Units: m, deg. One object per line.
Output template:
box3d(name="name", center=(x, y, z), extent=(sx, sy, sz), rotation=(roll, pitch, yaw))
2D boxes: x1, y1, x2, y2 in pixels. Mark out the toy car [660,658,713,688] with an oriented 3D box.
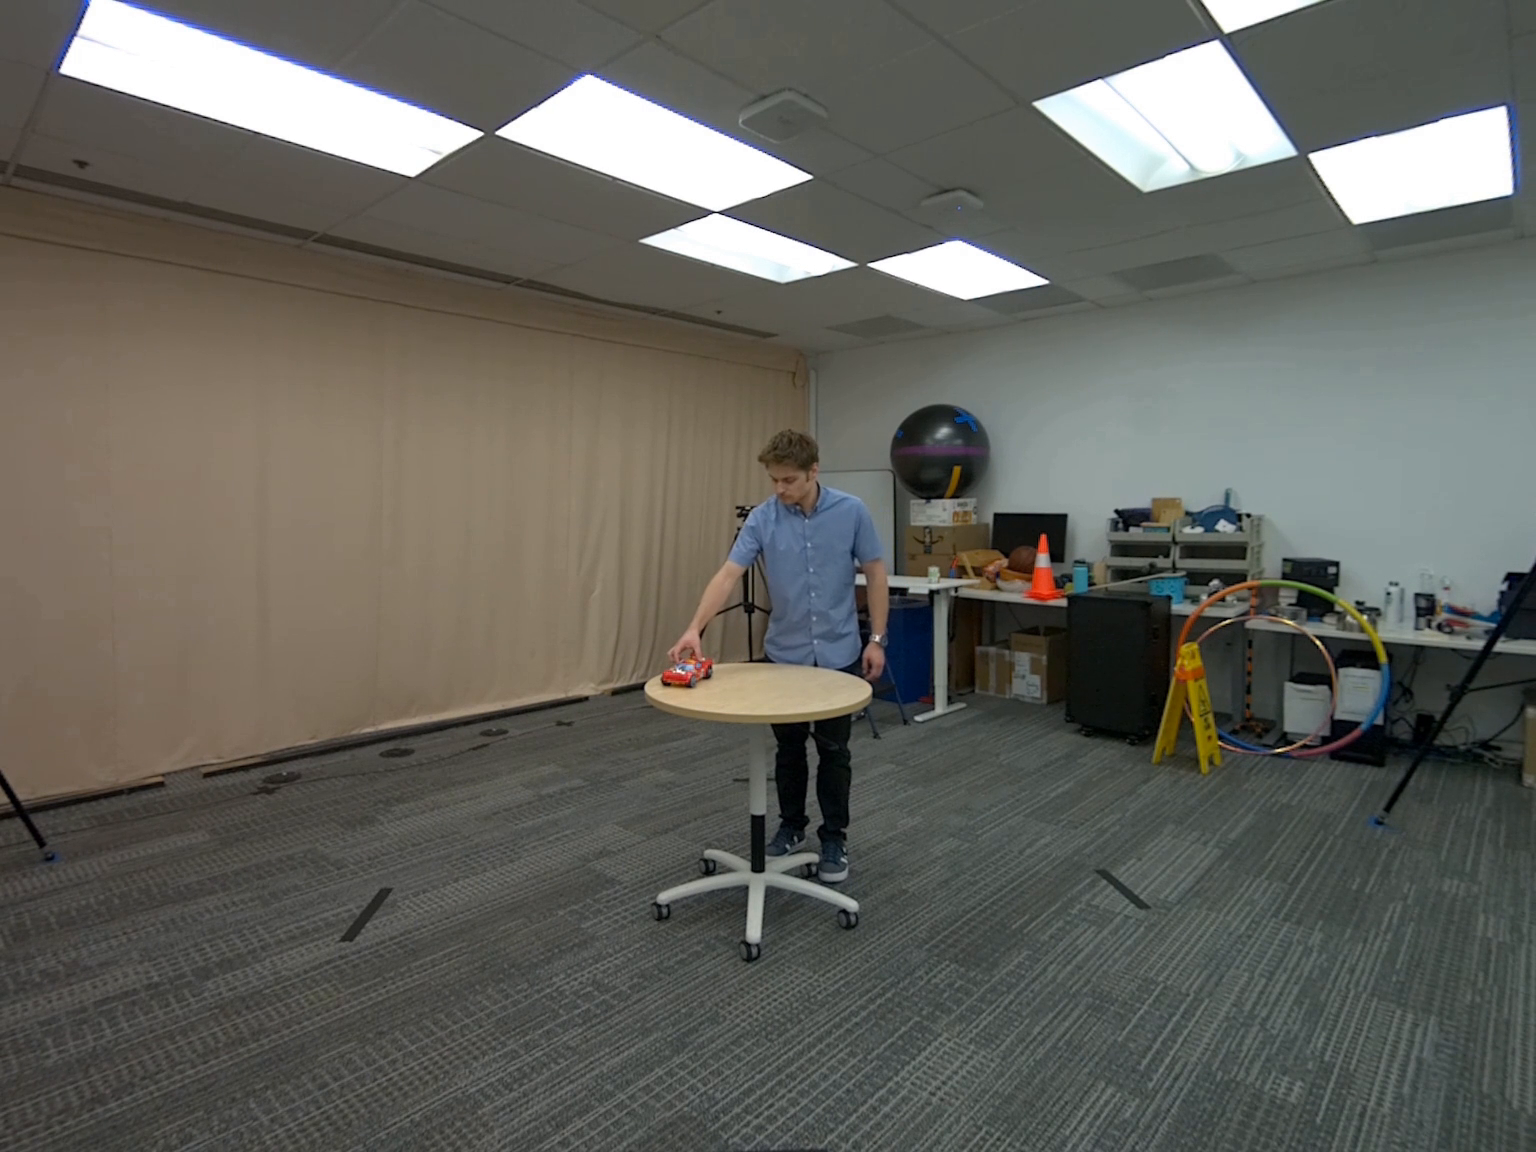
box3d(name="toy car", center=(-0.268, 0.336, 2.927), extent=(0.133, 0.082, 0.252), rotation=(1, 17, 20))
